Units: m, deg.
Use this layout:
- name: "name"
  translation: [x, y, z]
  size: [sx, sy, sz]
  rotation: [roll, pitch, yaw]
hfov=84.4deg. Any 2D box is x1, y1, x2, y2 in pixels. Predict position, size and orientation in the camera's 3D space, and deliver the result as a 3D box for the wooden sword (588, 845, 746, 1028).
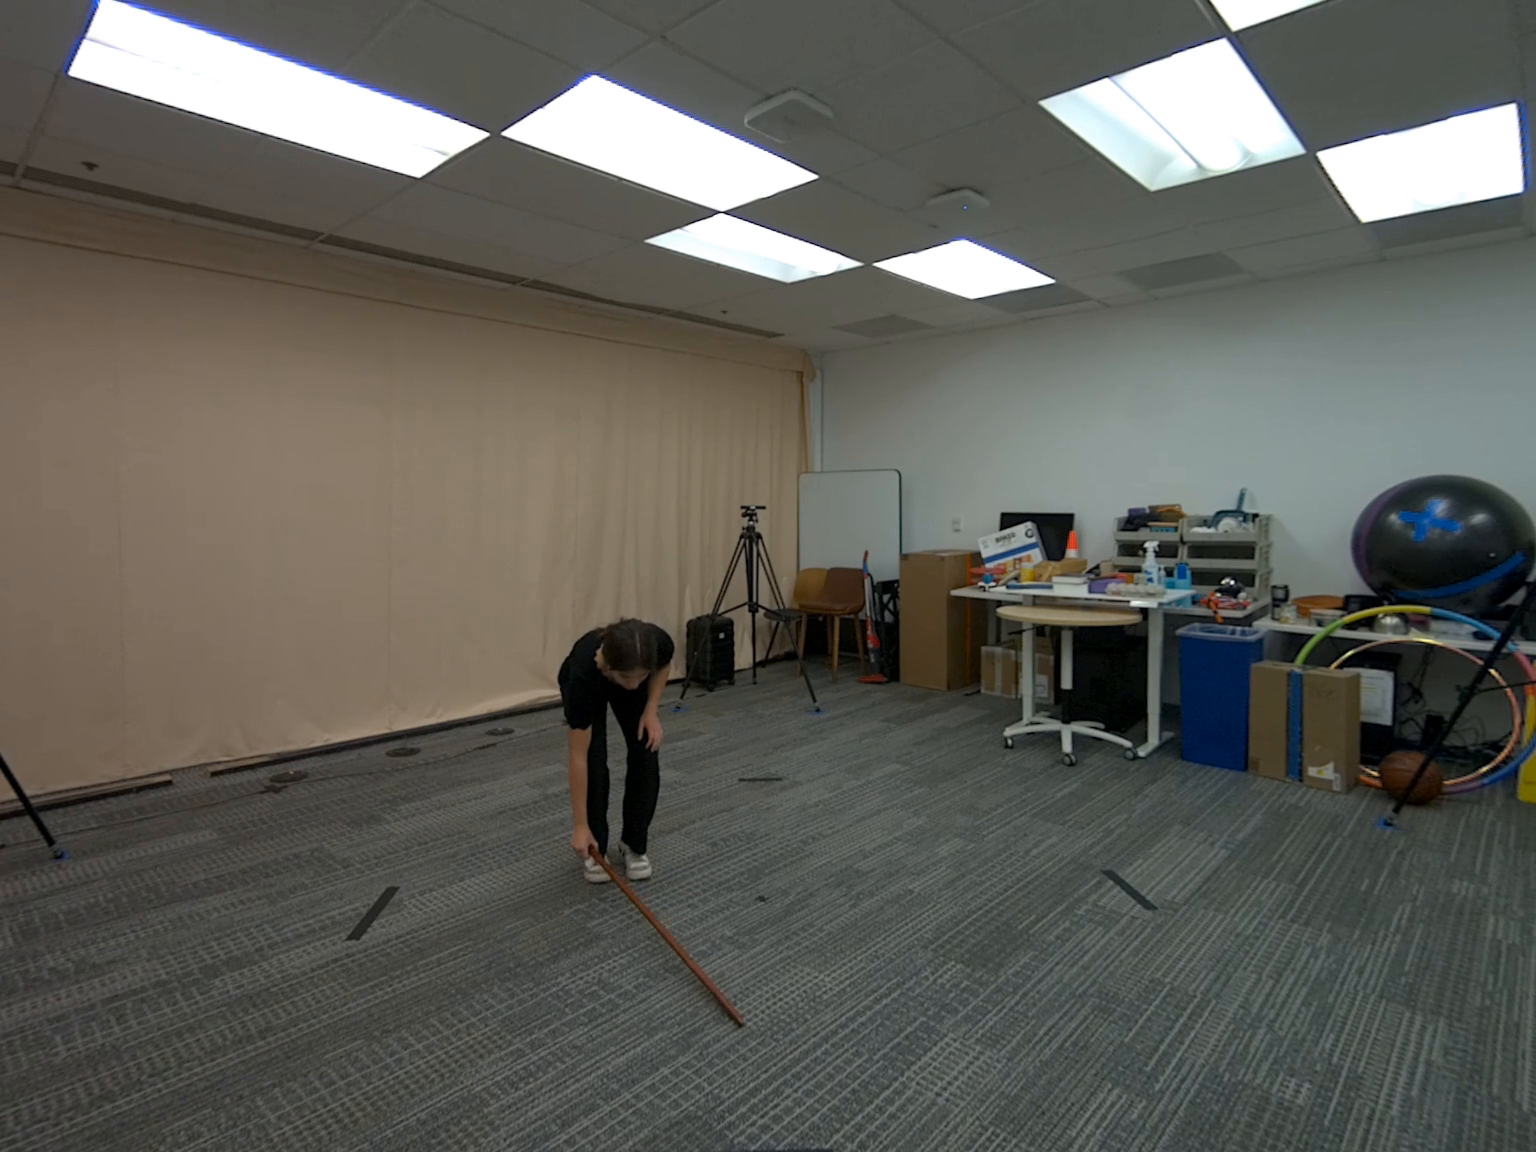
- name: "wooden sword"
  translation: [-0.357, 1.107, 2.659]
  size: [0.049, 0.024, 1.059]
  rotation: [35, -11, -34]
